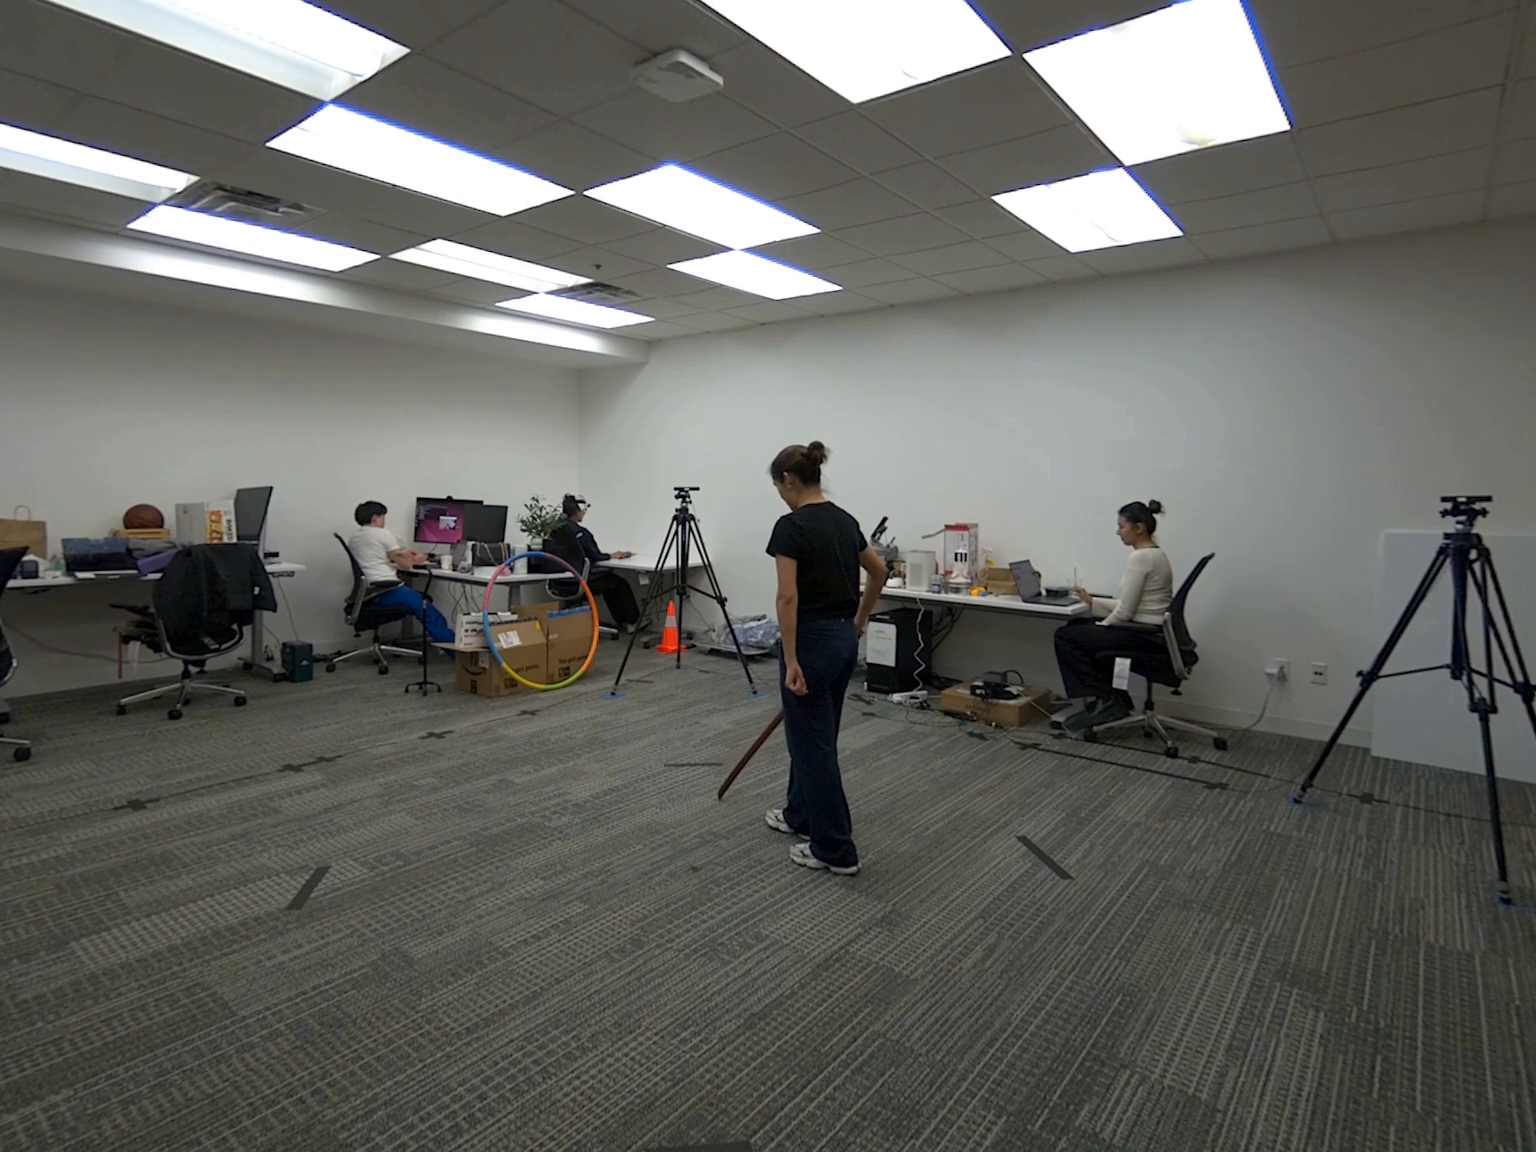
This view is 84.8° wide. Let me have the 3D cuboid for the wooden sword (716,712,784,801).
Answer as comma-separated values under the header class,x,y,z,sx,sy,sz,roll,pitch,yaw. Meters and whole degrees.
class,x,y,z,sx,sy,sz,roll,pitch,yaw
wooden sword,0.080,0.587,3.682,0.050,1.022,0.024,32,16,-13
